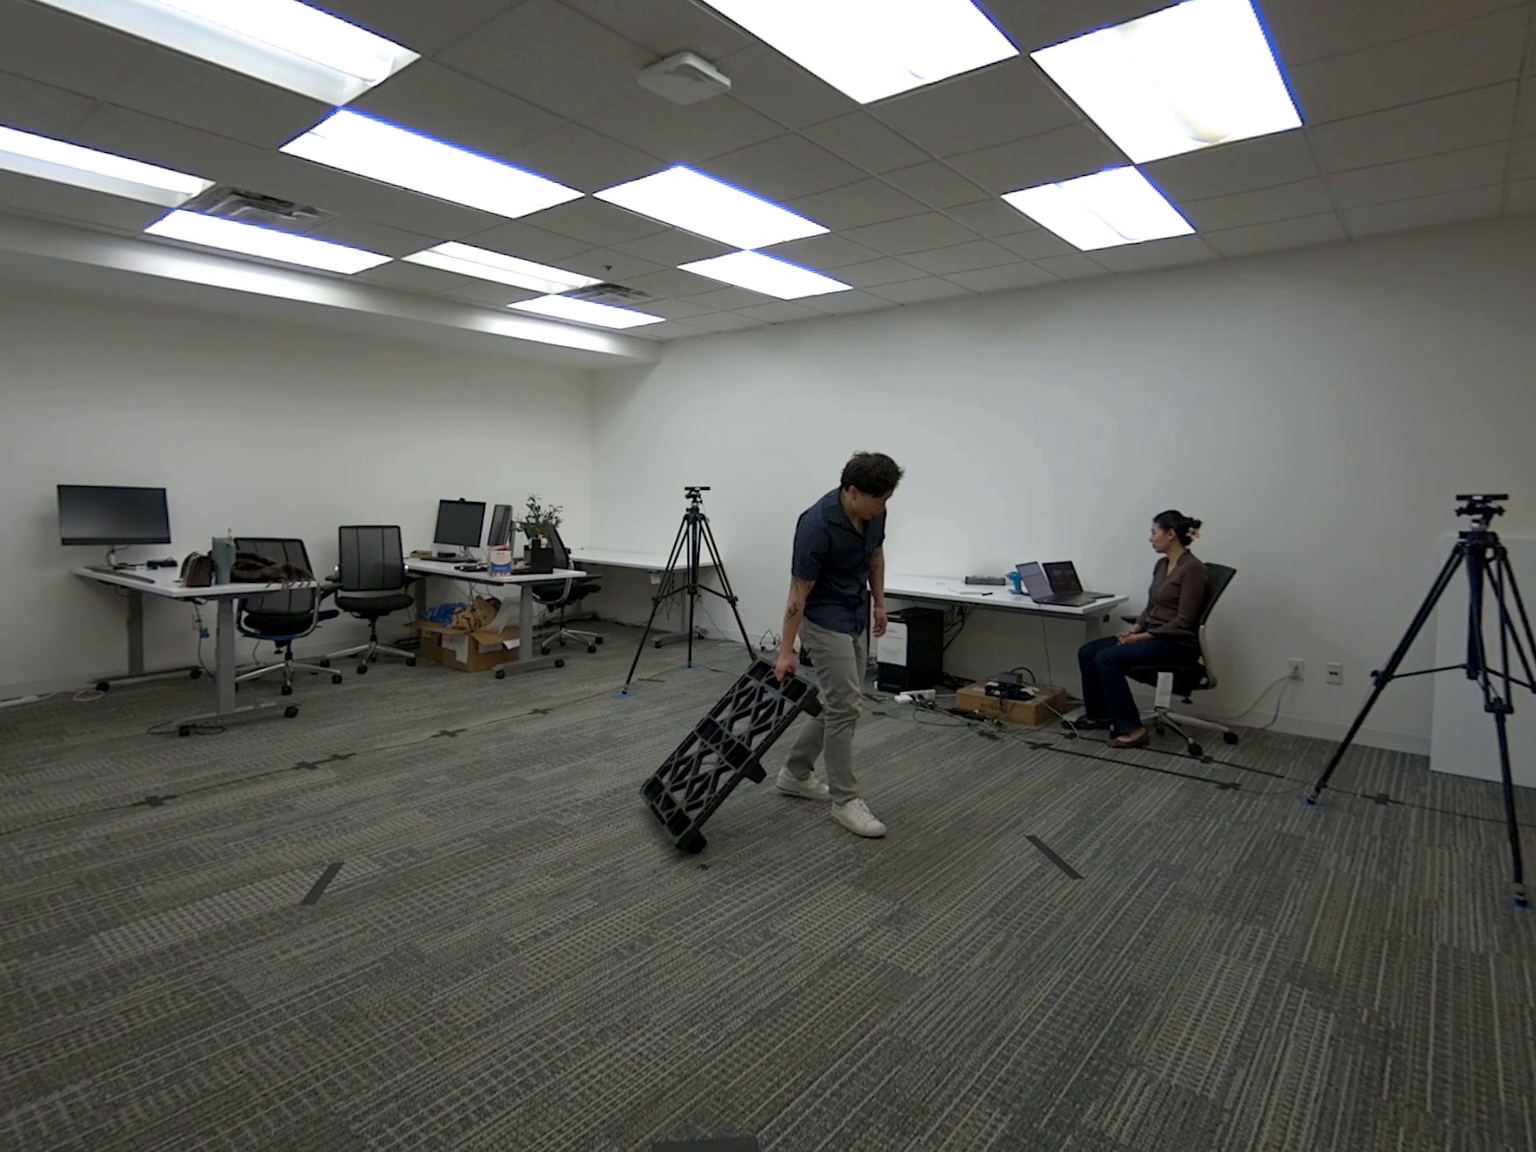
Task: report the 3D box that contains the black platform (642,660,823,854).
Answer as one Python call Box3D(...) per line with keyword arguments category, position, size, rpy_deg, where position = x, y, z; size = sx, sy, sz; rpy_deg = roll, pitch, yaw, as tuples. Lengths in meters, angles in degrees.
Box3D(category="black platform", position=(-0.163, 0.718, 3.514), size=(0.140, 0.805, 0.620), rpy_deg=(46, -11, -20))
